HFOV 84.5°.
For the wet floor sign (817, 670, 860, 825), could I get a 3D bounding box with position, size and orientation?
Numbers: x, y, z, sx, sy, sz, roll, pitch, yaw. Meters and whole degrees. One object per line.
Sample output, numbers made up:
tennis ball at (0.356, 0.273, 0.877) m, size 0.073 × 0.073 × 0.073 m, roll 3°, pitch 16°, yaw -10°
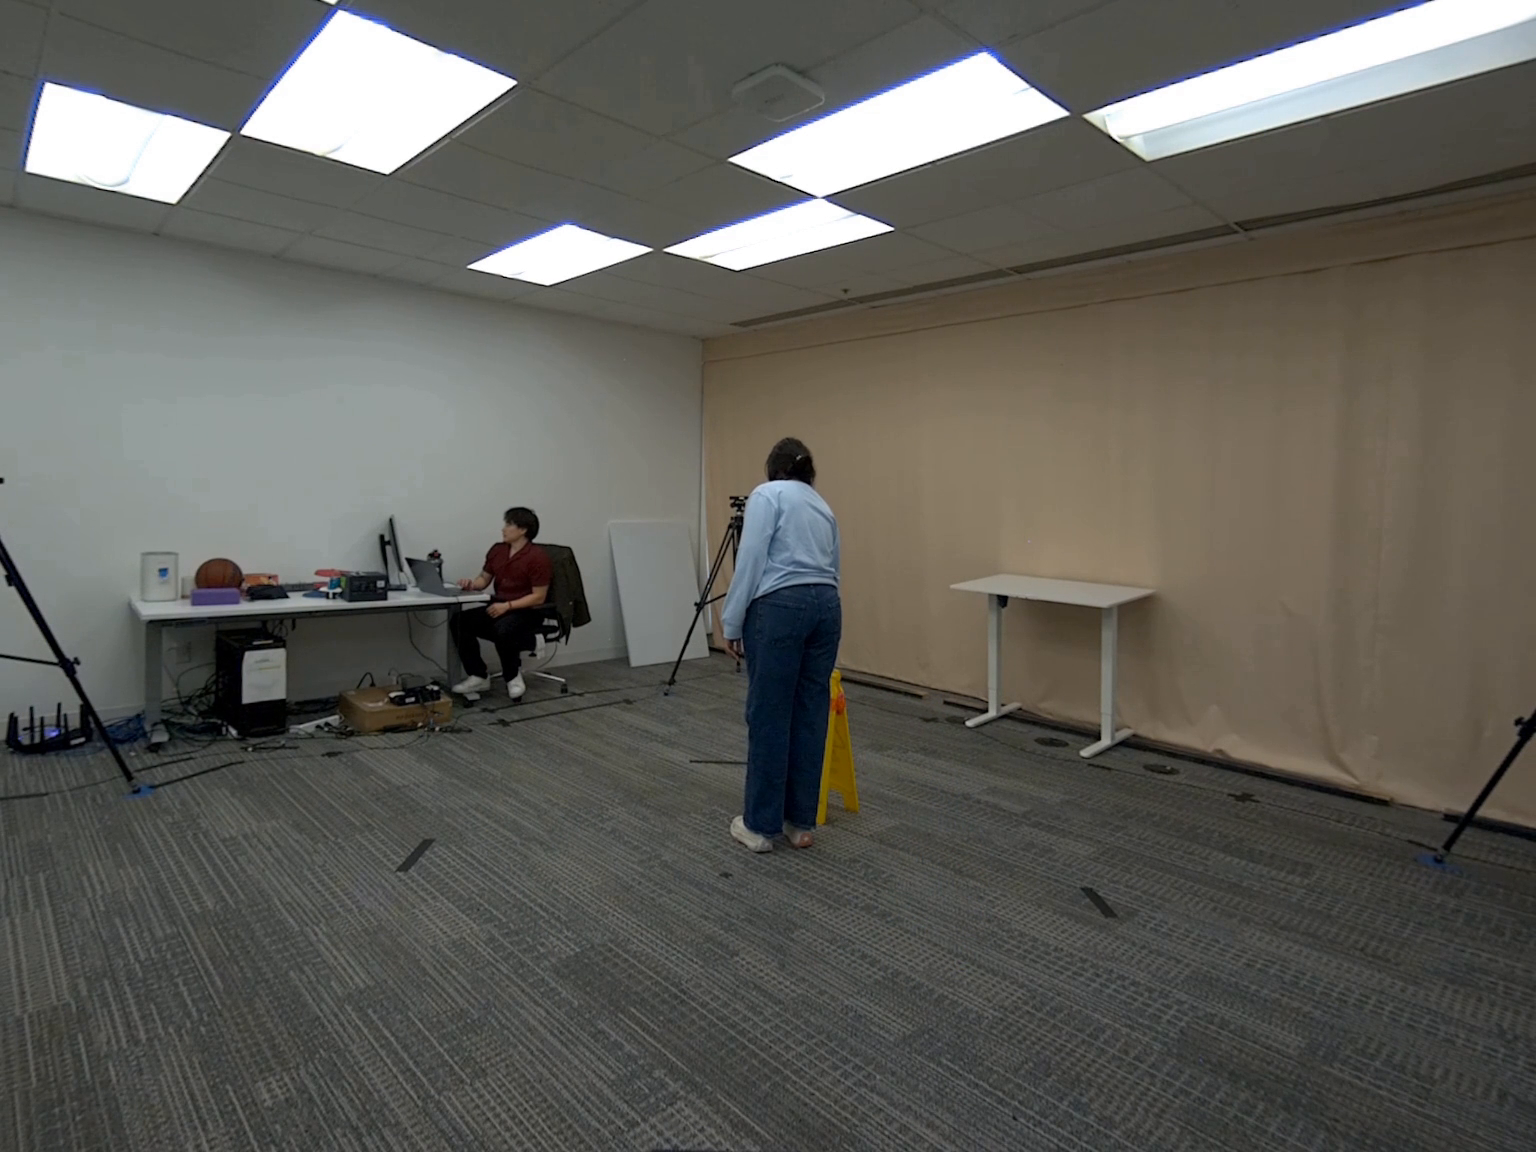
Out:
wet floor sign at (0.225, 0.732, 3.783) m, size 0.283 × 0.645 × 0.289 m, roll 0°, pitch 4°, yaw -43°
